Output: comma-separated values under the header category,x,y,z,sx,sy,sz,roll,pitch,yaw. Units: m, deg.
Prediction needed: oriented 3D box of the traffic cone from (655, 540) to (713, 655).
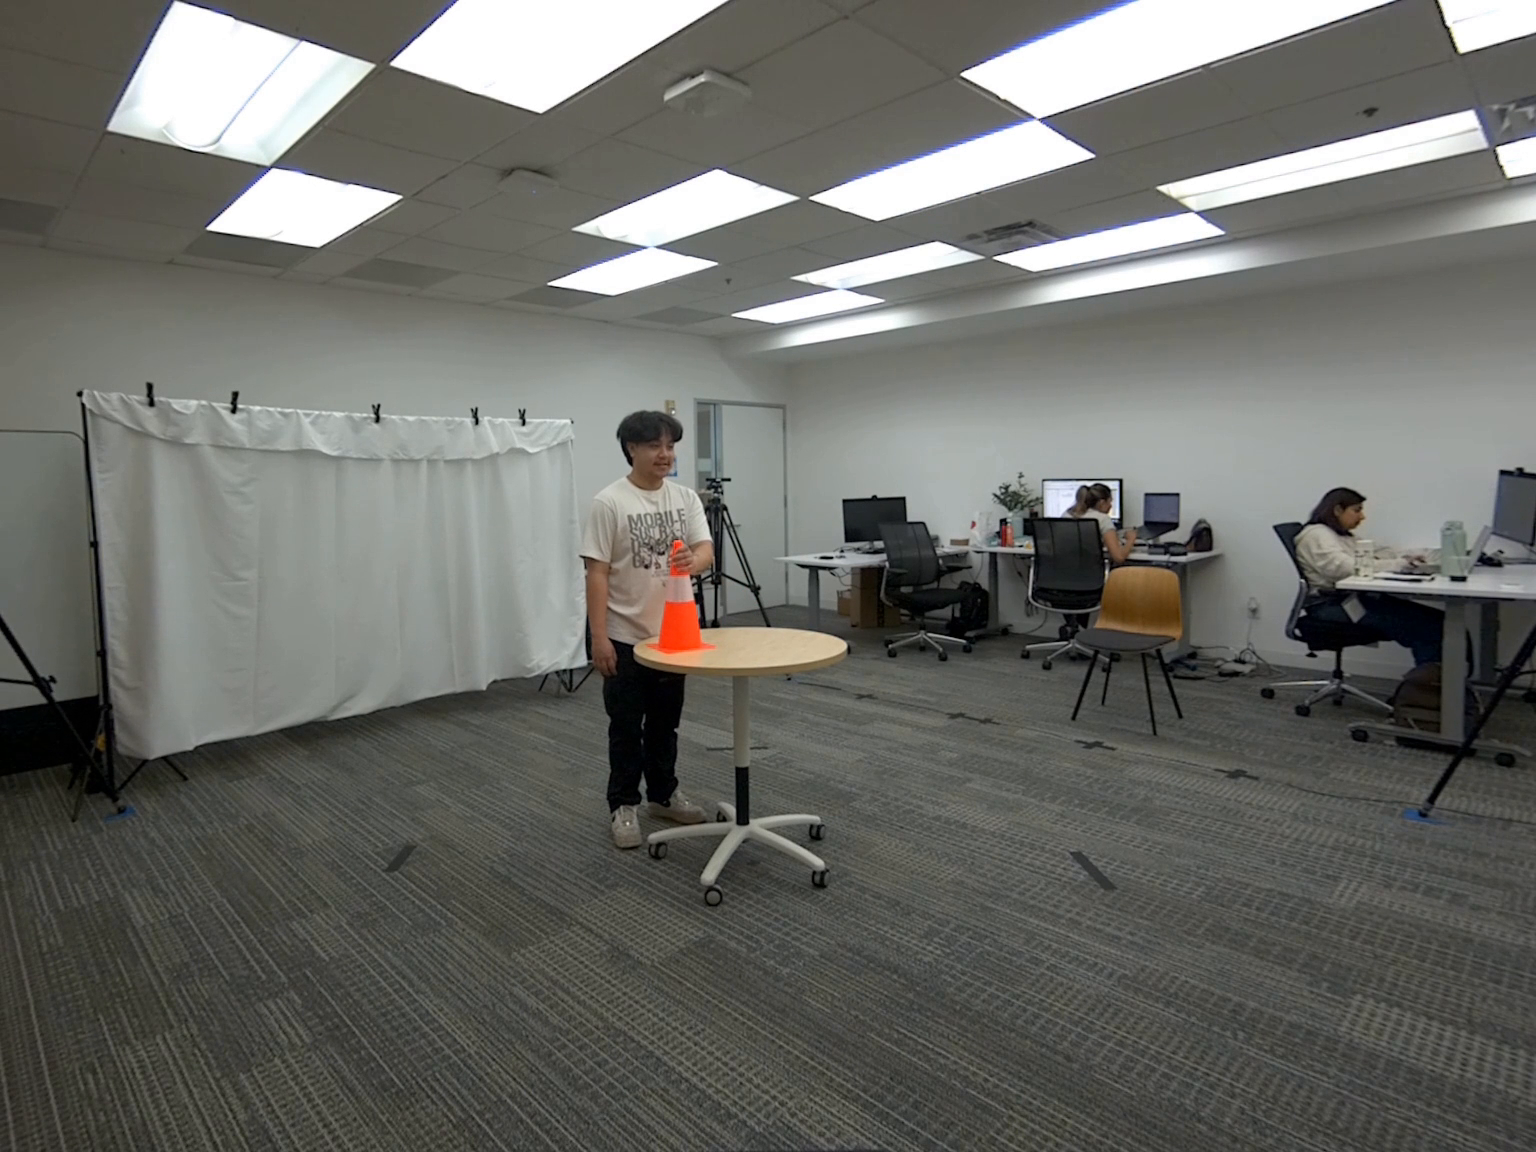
category,x,y,z,sx,sy,sz,roll,pitch,yaw
traffic cone,-0.321,0.066,3.069,0.199,0.383,0.209,-5,4,-40
